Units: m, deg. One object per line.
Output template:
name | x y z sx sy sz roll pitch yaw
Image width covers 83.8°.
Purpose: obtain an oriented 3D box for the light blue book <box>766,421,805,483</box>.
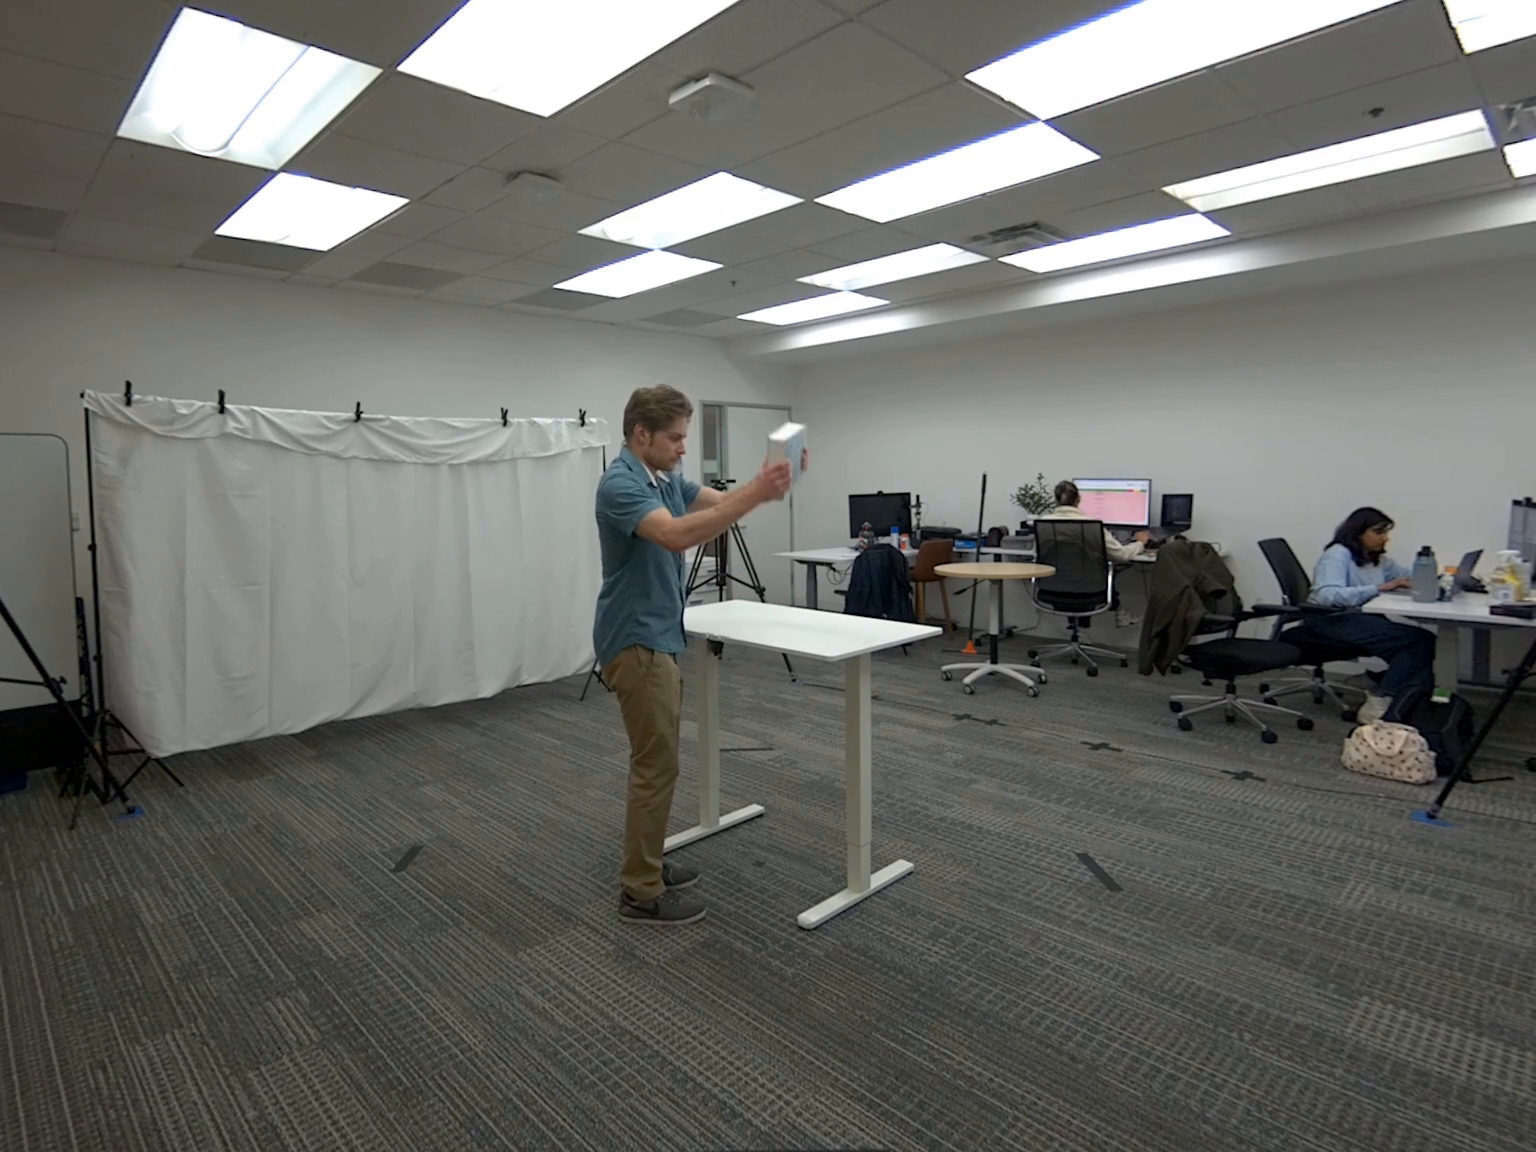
light blue book | 0.032 -0.338 2.612 0.060 0.189 0.261 4 17 11
